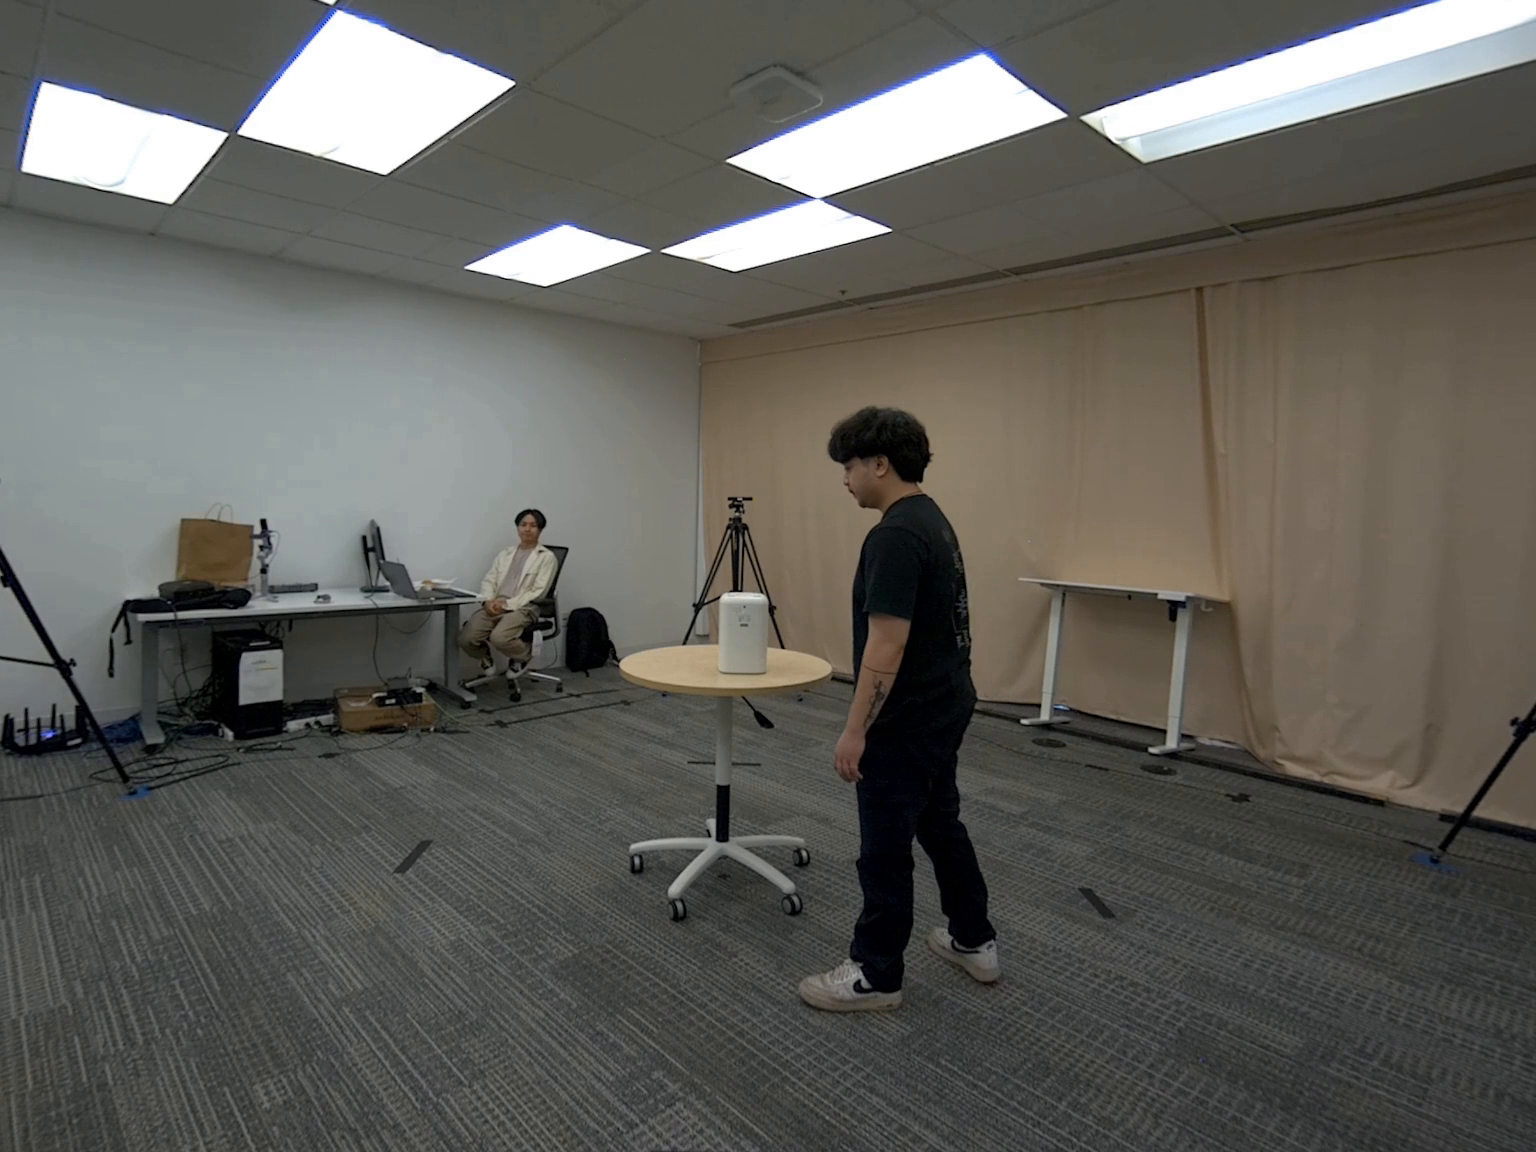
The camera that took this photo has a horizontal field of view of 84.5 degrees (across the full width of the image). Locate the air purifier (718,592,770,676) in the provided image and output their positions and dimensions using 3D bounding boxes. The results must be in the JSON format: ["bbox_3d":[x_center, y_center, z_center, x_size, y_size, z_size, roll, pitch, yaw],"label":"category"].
[{"bbox_3d":[-0.095,0.199,2.944,0.171,0.264,0.172,1,5,1],"label":"air purifier"}]
